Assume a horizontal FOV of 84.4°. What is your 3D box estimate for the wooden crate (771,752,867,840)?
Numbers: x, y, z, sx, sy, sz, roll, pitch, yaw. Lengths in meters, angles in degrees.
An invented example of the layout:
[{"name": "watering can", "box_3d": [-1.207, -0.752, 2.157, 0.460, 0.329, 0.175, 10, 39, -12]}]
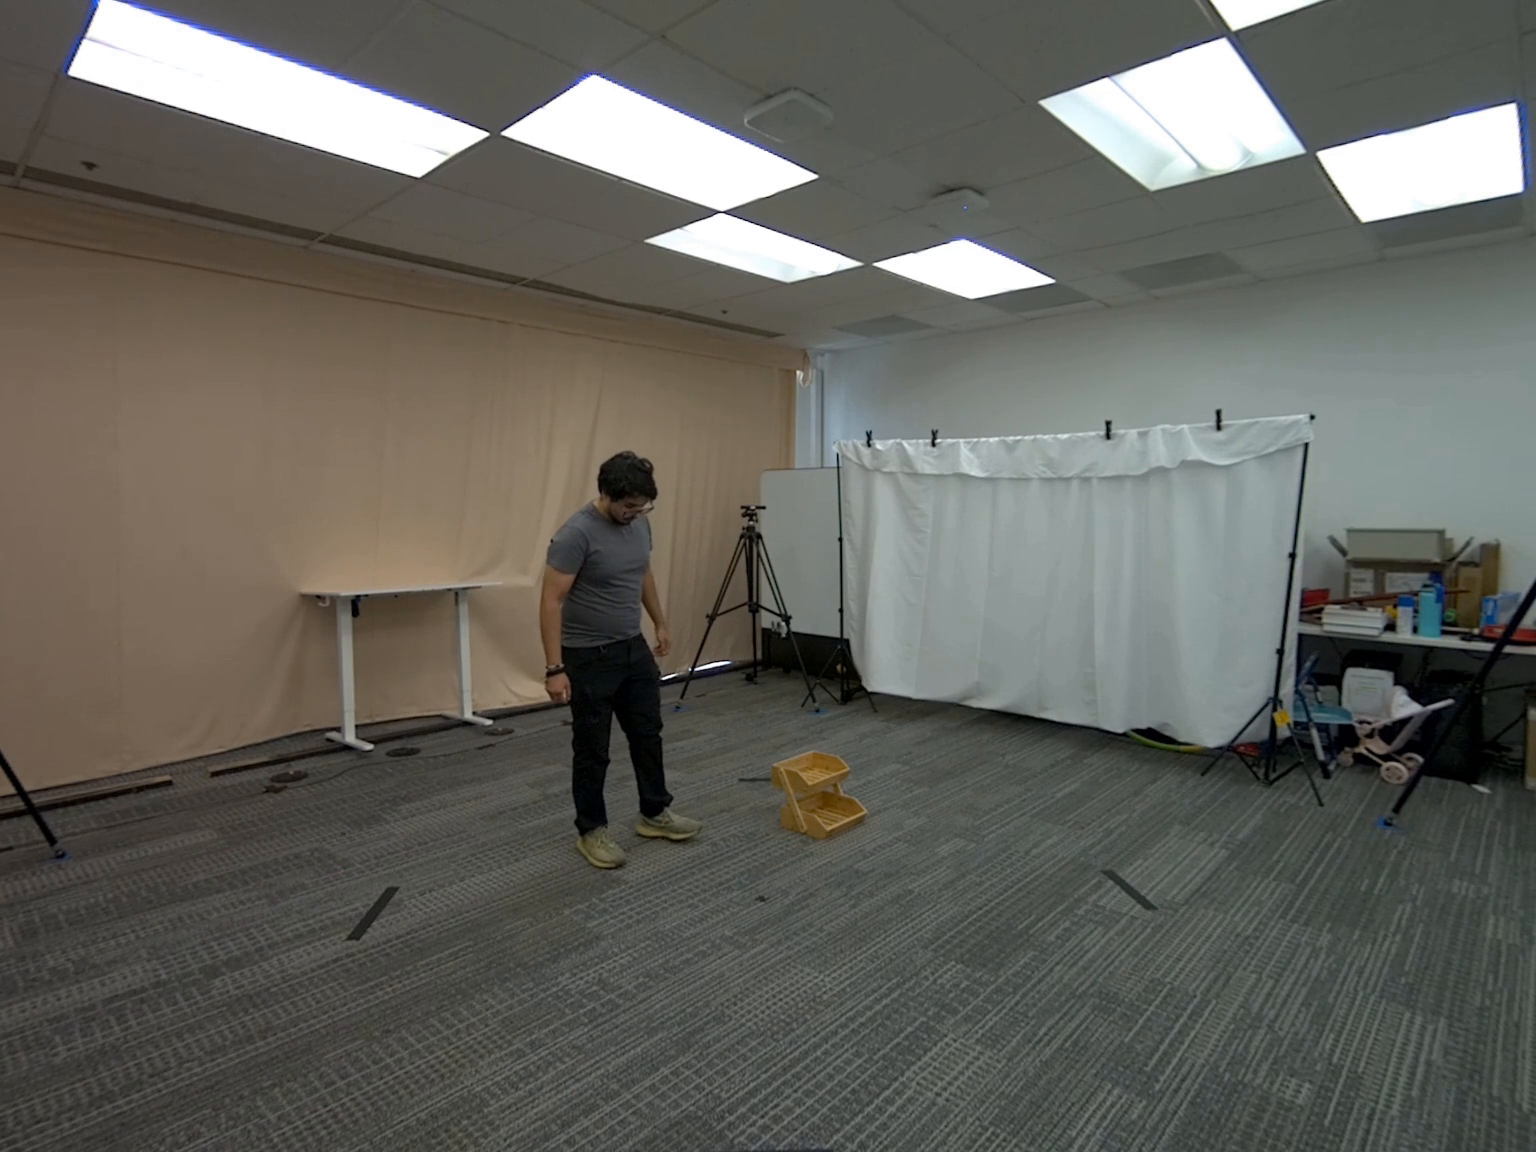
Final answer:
[{"name": "wooden crate", "box_3d": [0.228, 0.950, 3.692, 0.312, 0.273, 0.314, 3, 5, 41]}]
